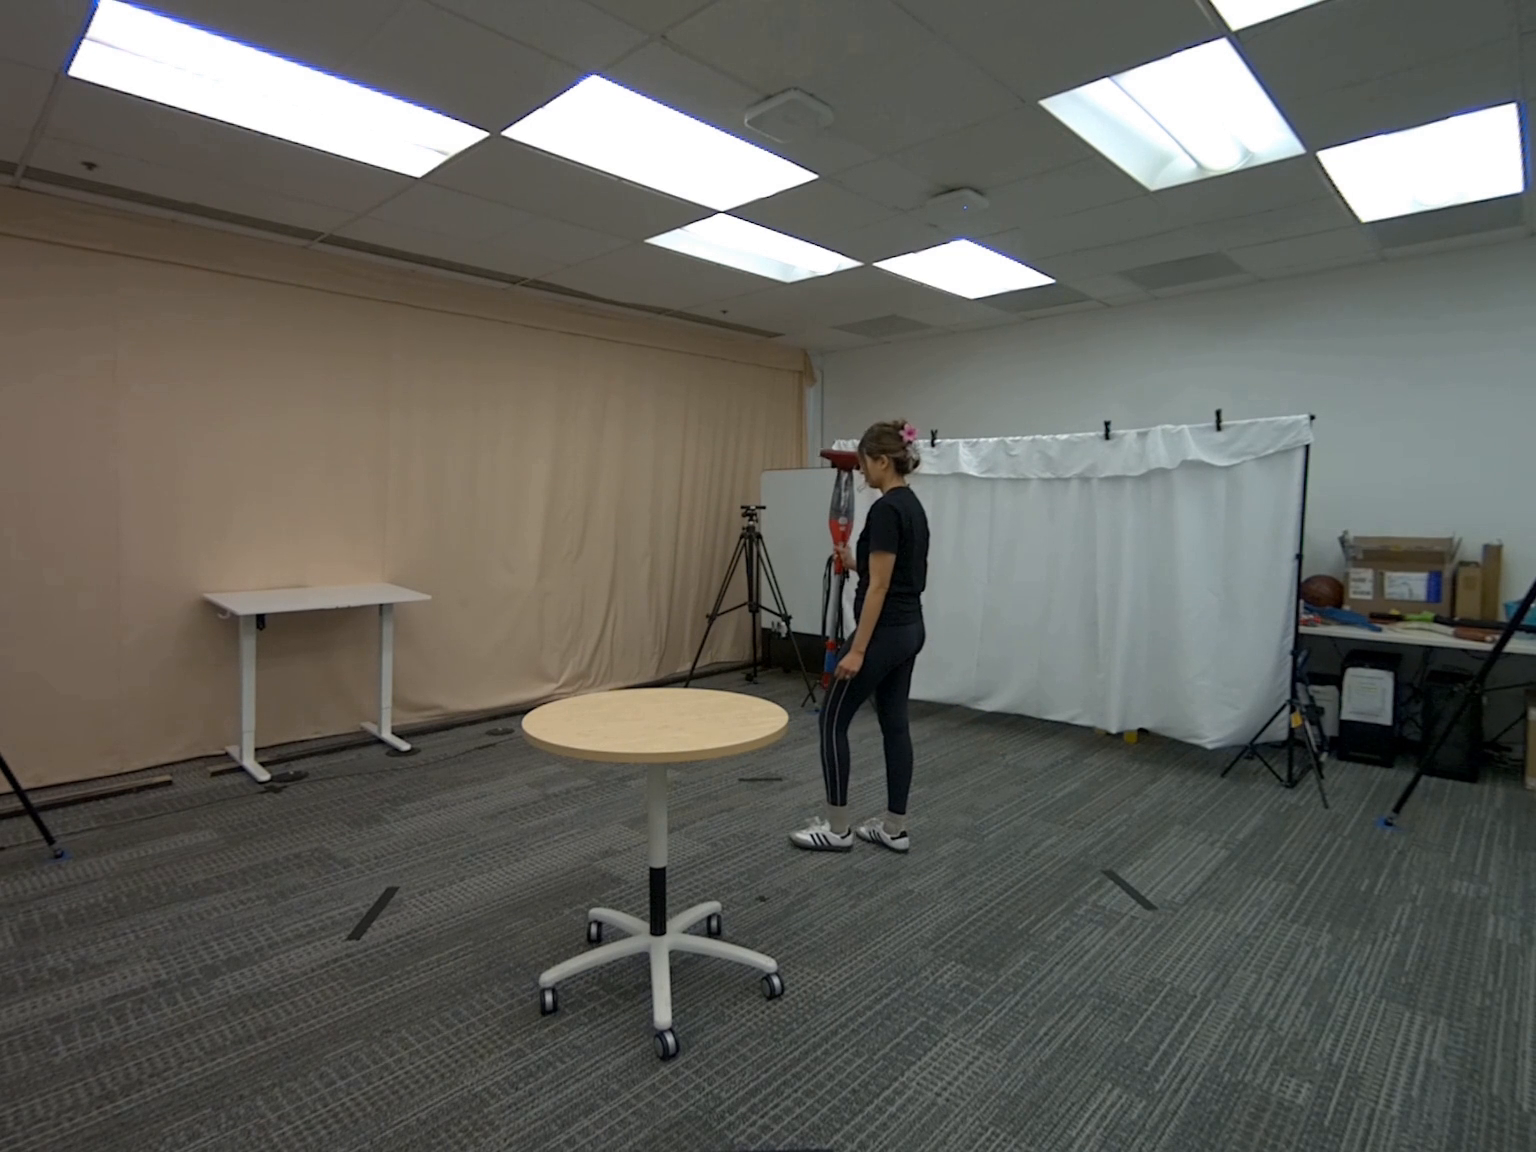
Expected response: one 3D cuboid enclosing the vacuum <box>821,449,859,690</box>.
[{"bbox_3d":[0.307,-0.008,3.751,0.254,1.045,0.144,5,8,3],"label":"vacuum"}]
